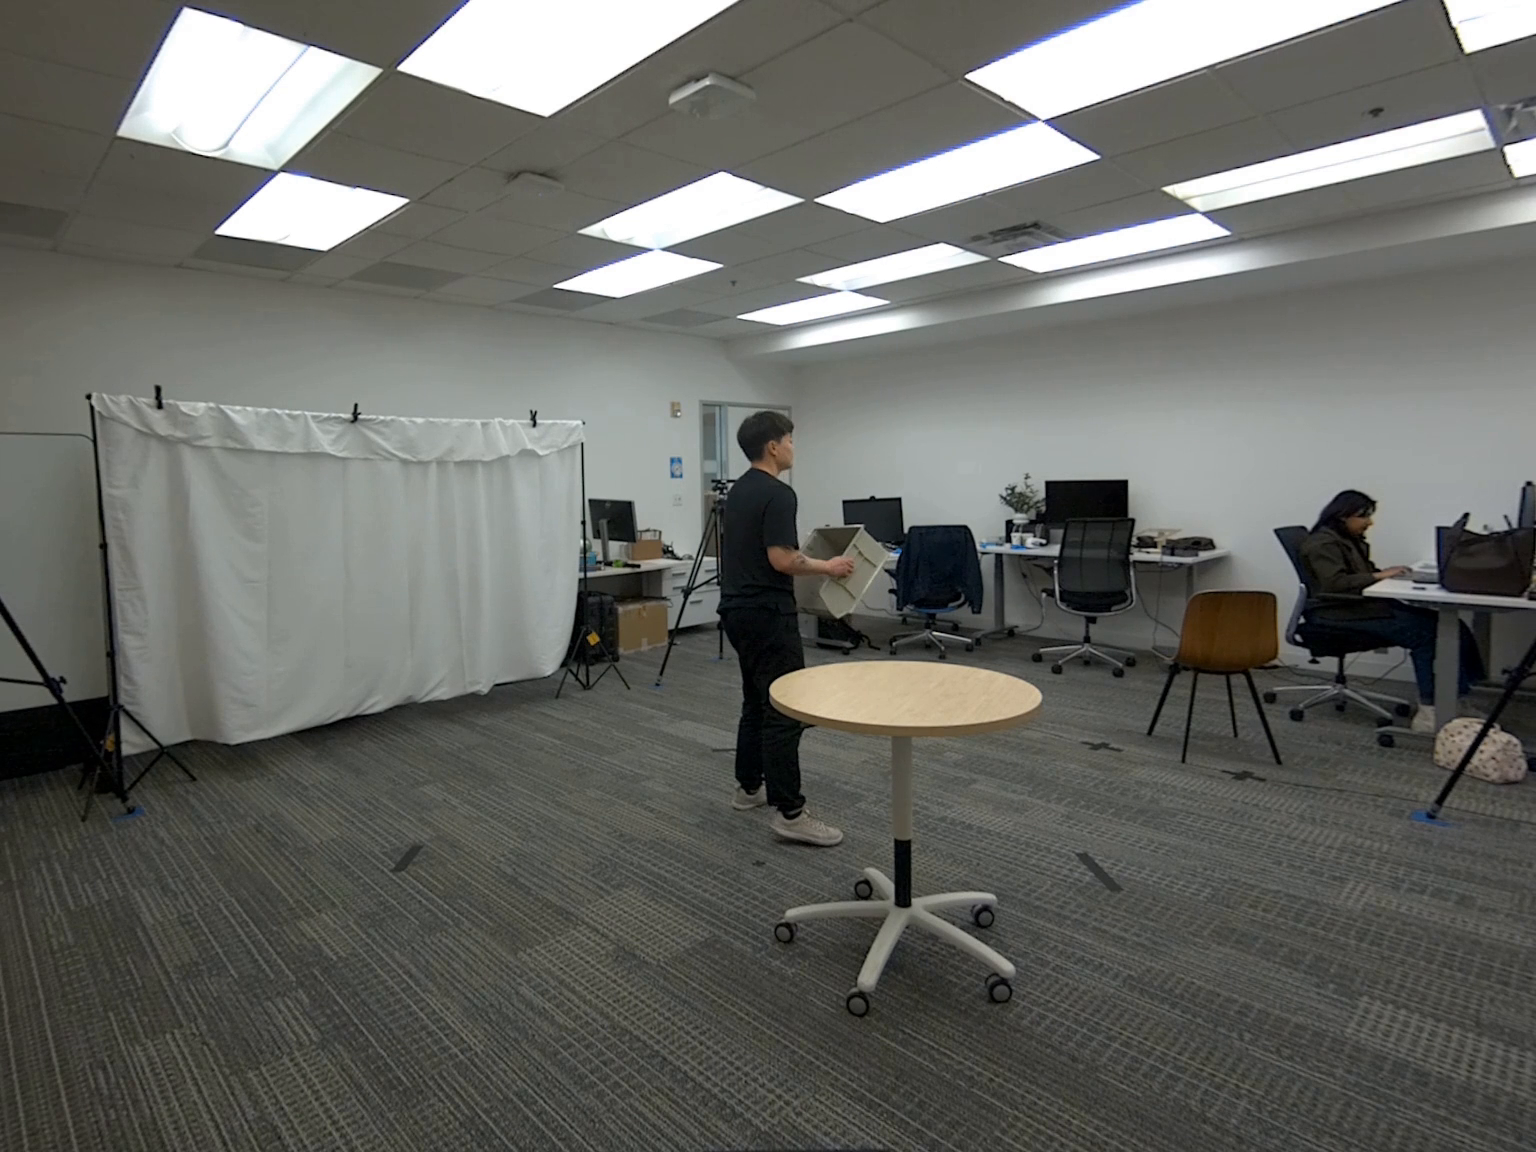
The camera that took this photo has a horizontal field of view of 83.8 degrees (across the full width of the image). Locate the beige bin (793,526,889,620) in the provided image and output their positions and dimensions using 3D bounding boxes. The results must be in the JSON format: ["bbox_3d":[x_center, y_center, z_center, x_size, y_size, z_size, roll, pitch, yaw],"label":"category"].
[{"bbox_3d":[0.261,-0.011,3.681,0.185,0.378,0.431,41,-15,-19],"label":"beige bin"}]
